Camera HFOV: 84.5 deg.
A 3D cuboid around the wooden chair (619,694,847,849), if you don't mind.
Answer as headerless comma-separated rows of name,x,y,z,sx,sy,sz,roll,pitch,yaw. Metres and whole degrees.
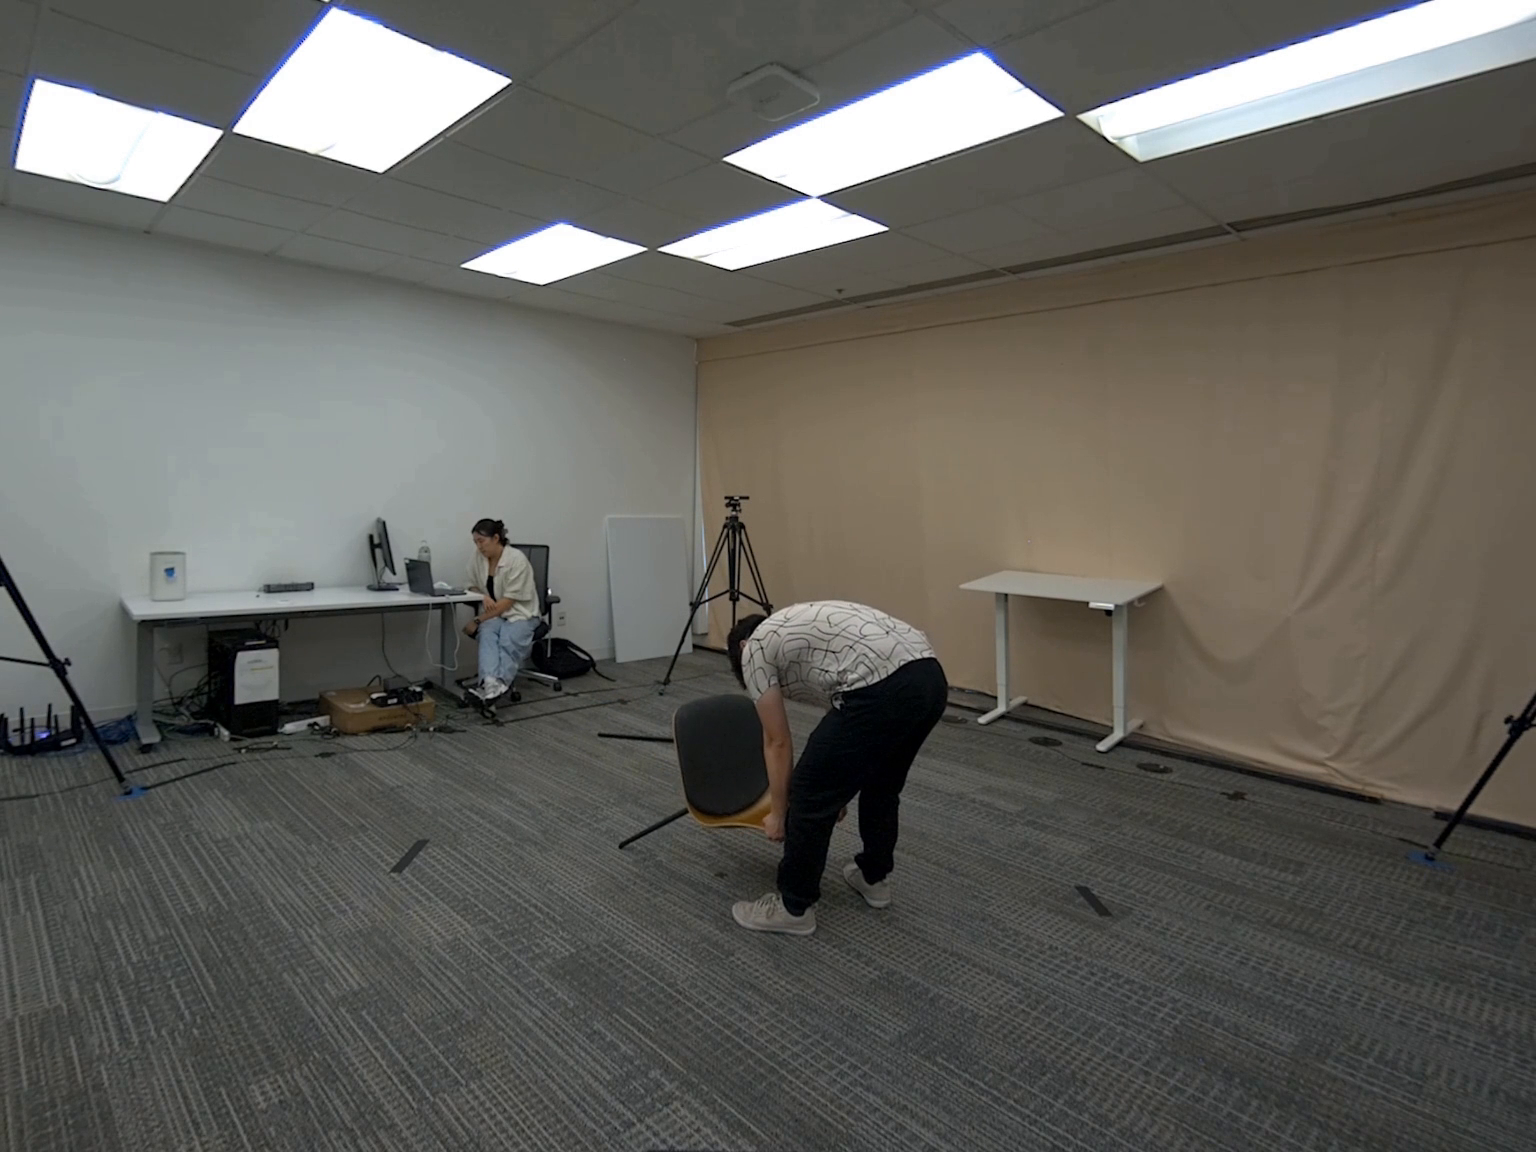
wooden chair,-0.179,0.726,3.215,0.467,0.527,0.892,-1,-10,-45
